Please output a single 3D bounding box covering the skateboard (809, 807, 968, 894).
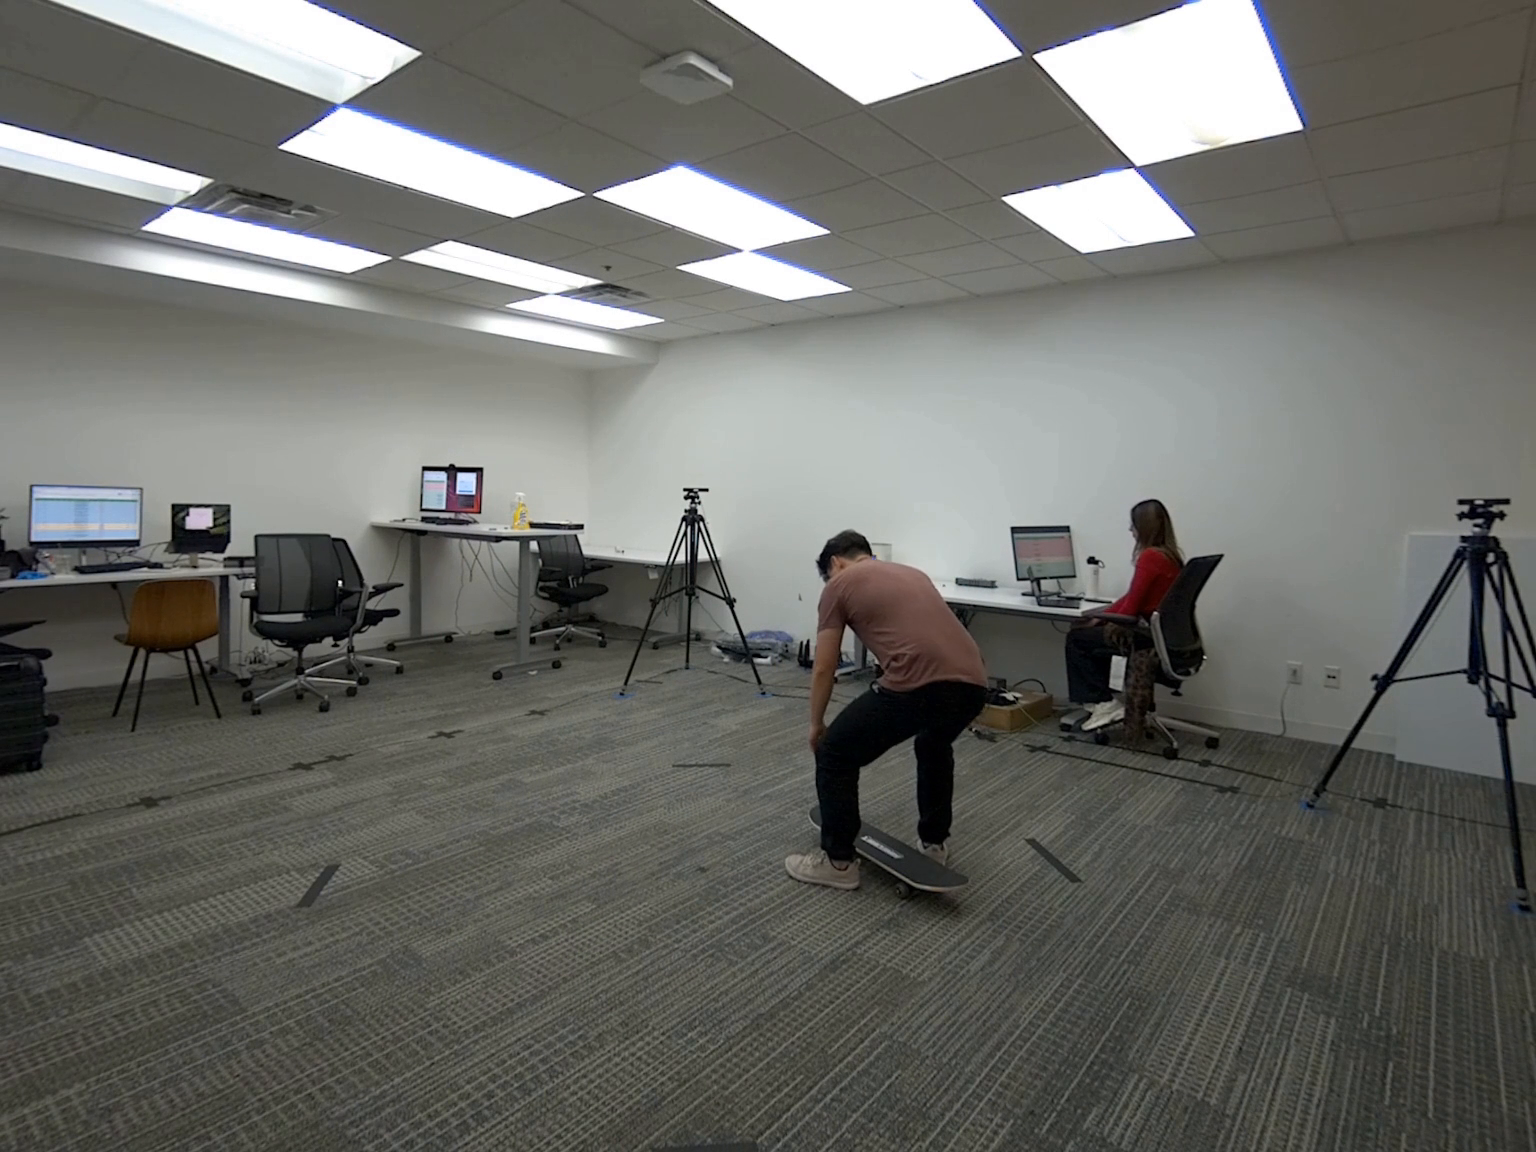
[{"bbox_3d":[0.405,1.019,3.134,0.188,0.110,0.810,-2,6,-32],"label":"skateboard"}]
